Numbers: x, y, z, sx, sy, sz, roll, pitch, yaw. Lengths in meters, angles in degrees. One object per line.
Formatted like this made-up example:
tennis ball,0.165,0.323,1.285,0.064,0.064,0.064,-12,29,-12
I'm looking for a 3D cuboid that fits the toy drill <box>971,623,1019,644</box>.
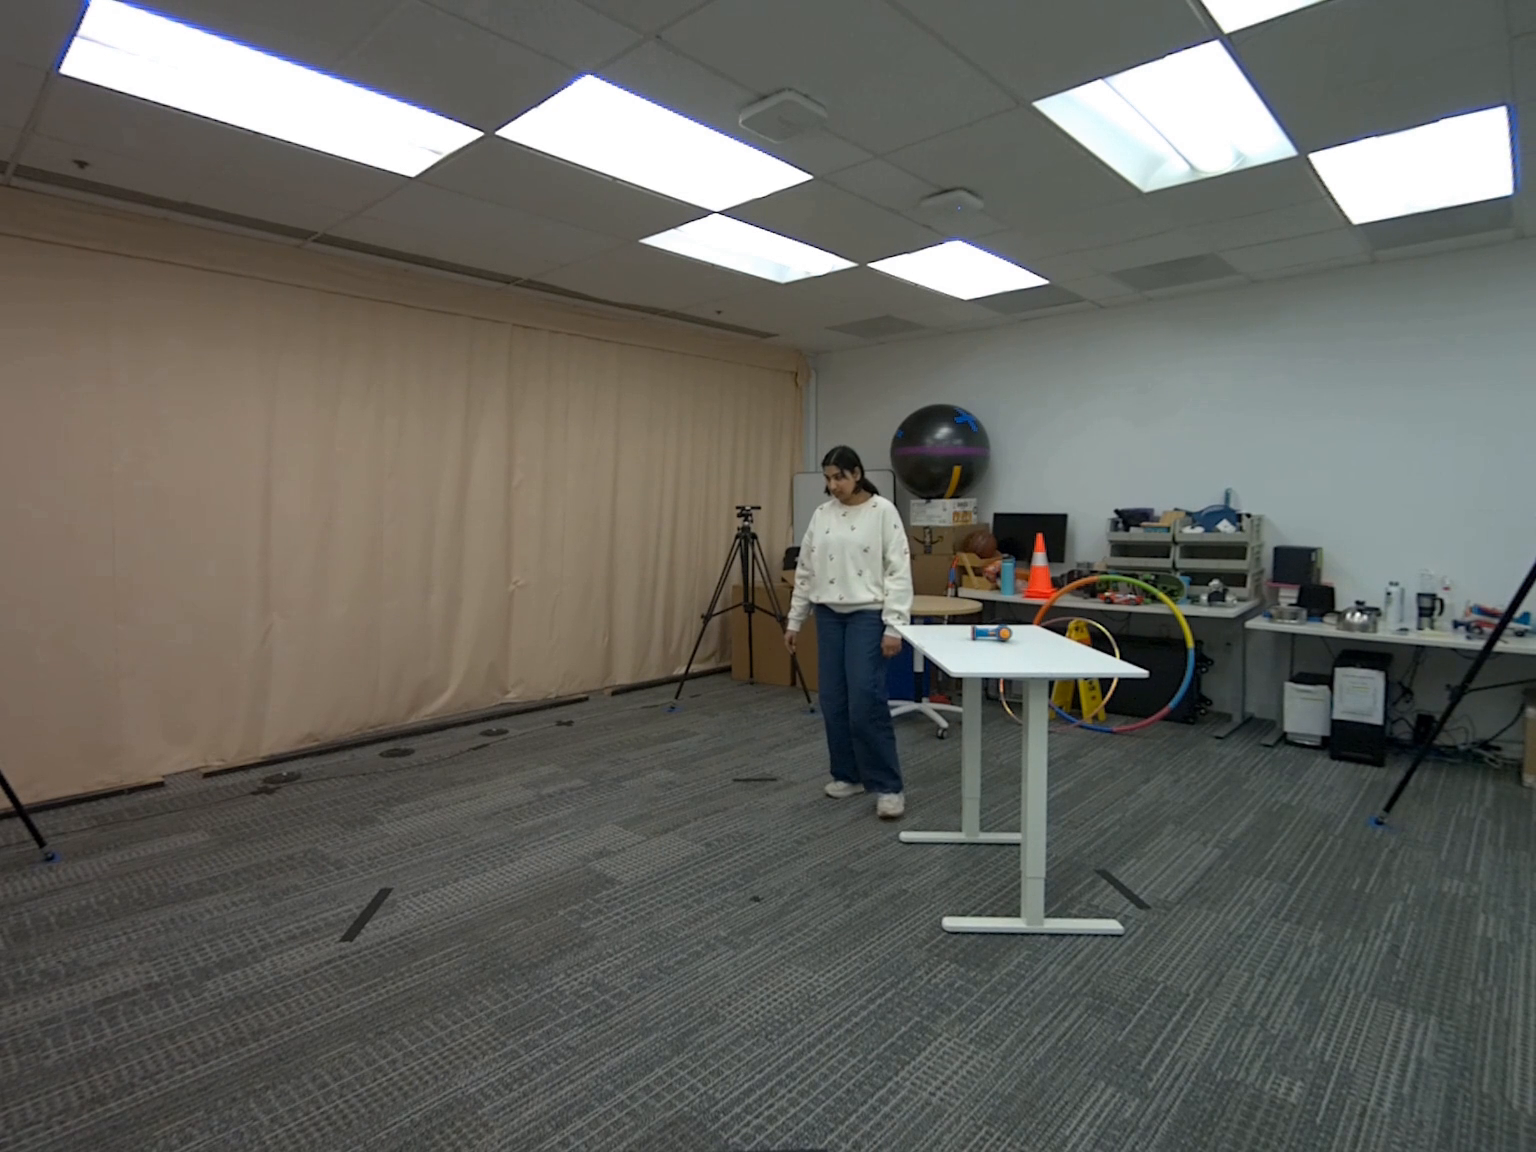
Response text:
toy drill,0.838,0.210,3.142,0.148,0.061,0.168,0,0,10
